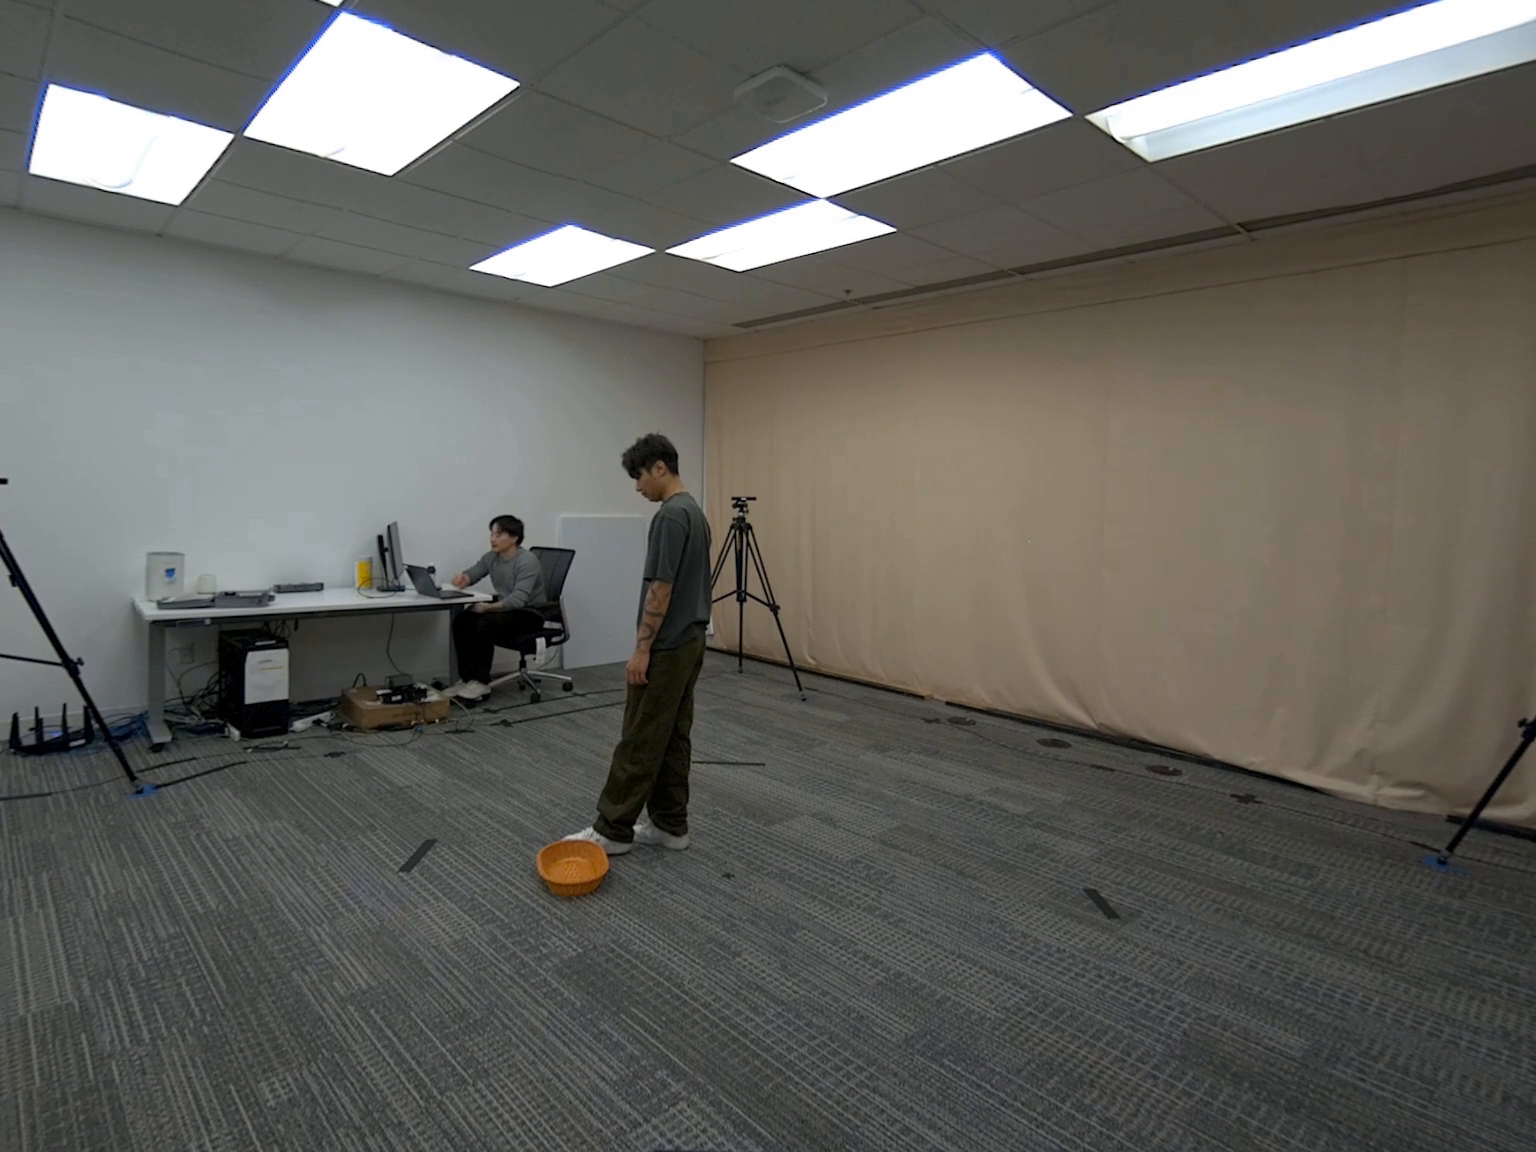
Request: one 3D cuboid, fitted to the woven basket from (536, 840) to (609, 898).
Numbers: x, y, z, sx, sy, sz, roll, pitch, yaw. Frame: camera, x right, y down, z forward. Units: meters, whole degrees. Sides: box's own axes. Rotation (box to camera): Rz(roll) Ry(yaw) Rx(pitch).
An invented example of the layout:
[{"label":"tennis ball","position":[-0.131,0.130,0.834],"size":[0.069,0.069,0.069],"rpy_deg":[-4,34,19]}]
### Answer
[{"label":"woven basket","position":[-0.716,1.059,3.047],"size":[0.249,0.073,0.356],"rpy_deg":[-1,7,-15]}]
